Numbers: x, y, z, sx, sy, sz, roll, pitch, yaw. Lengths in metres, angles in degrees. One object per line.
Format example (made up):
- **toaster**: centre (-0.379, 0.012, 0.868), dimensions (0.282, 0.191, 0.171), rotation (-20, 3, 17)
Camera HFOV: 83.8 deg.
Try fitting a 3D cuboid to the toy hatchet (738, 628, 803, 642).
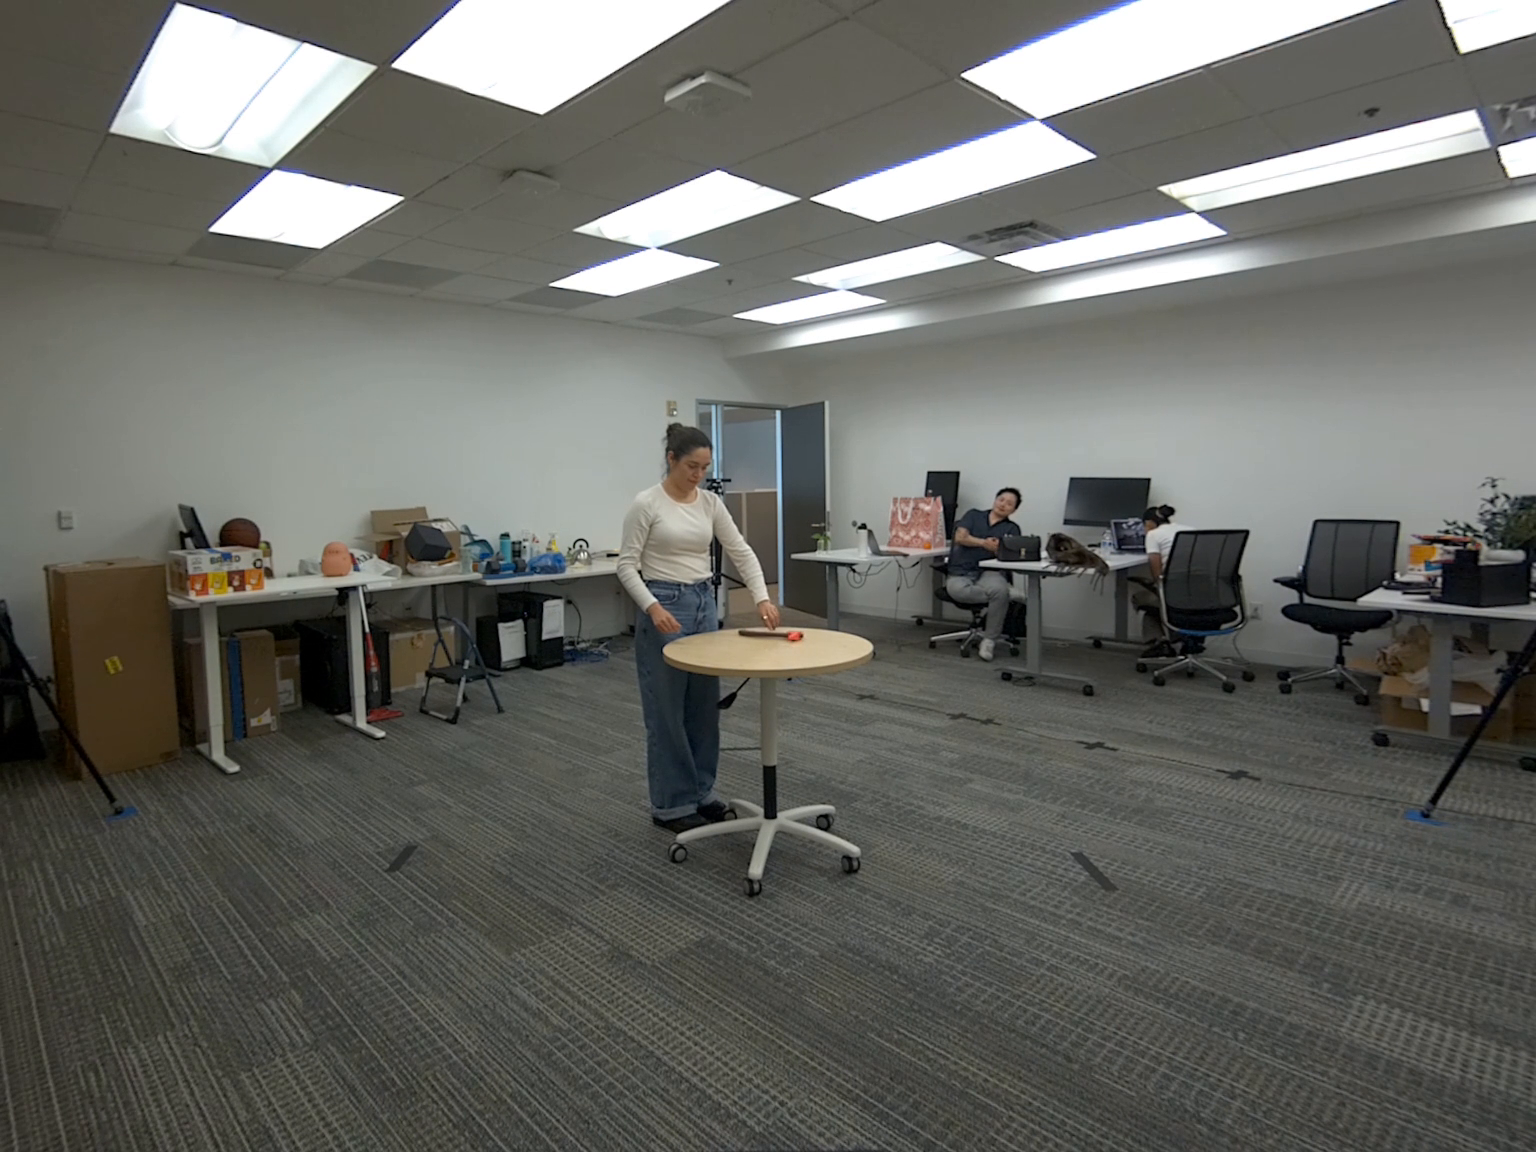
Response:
- **toy hatchet**: centre (0.023, 0.223, 3.315), dimensions (0.278, 0.029, 0.127), rotation (4, 7, 41)
